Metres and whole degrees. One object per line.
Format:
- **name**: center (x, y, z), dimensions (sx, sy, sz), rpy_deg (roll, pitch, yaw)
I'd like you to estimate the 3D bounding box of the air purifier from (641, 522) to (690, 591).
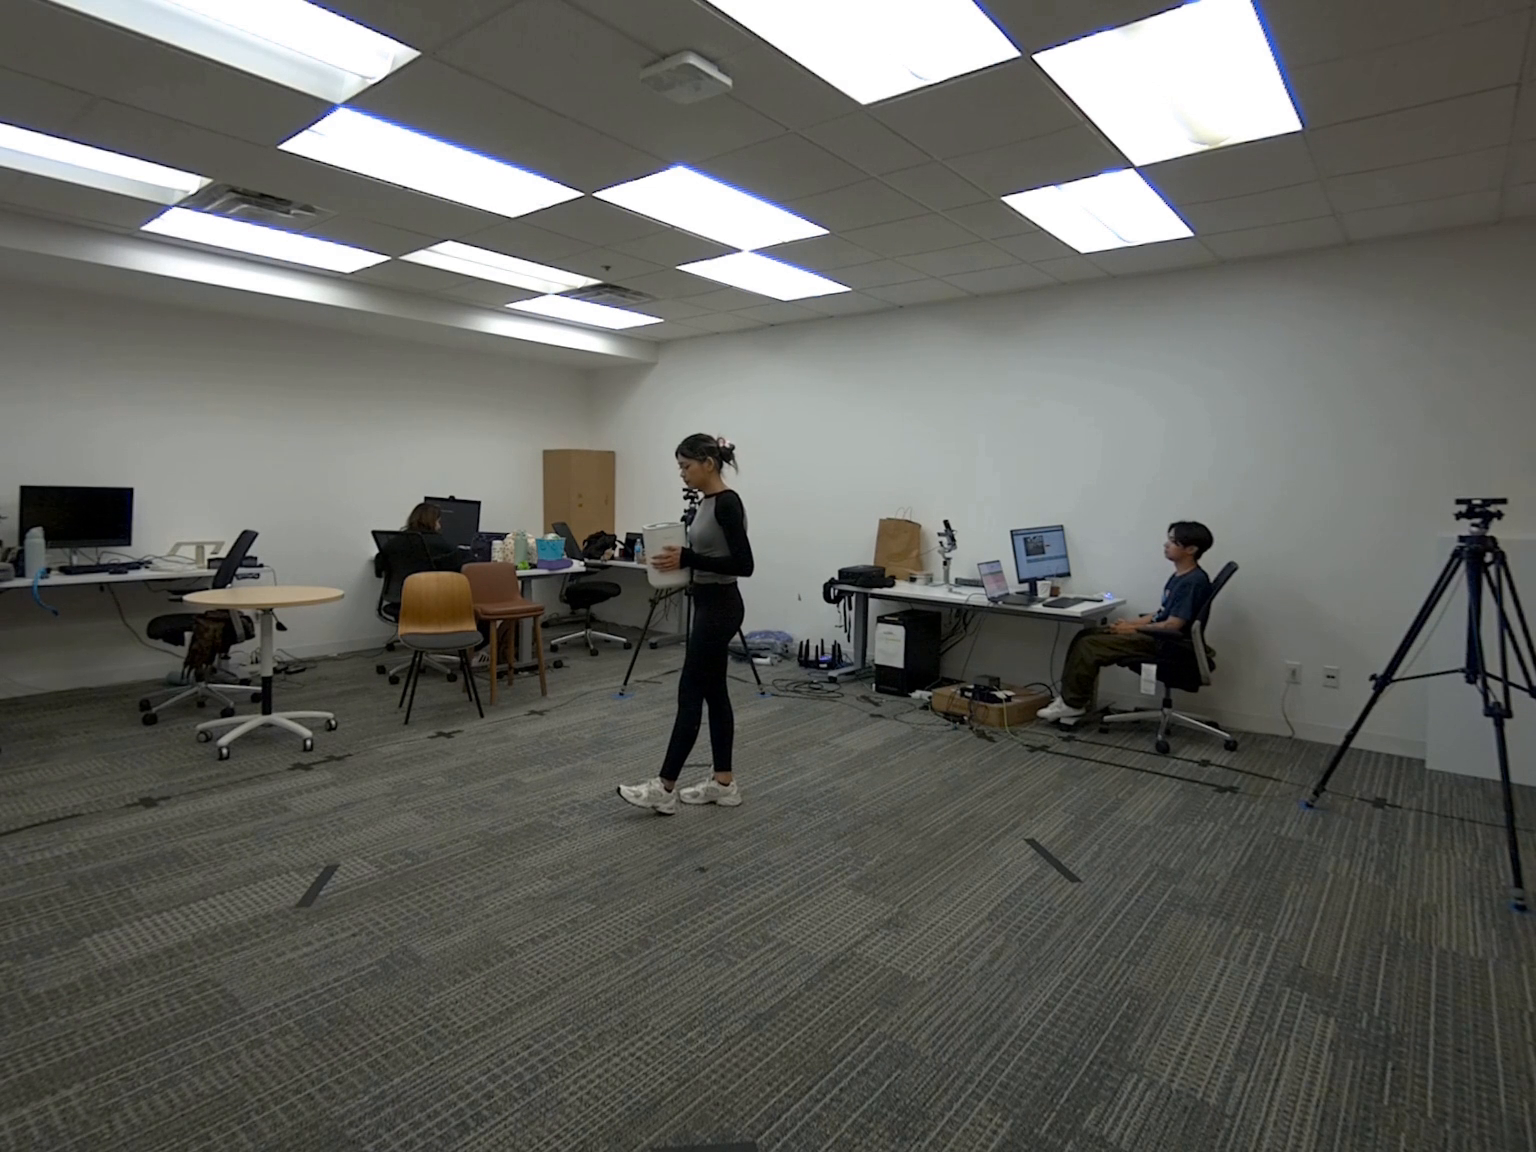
- **air purifier**: center (-0.452, -0.096, 3.690), dimensions (0.168, 0.263, 0.176), rpy_deg (-8, 11, -19)
